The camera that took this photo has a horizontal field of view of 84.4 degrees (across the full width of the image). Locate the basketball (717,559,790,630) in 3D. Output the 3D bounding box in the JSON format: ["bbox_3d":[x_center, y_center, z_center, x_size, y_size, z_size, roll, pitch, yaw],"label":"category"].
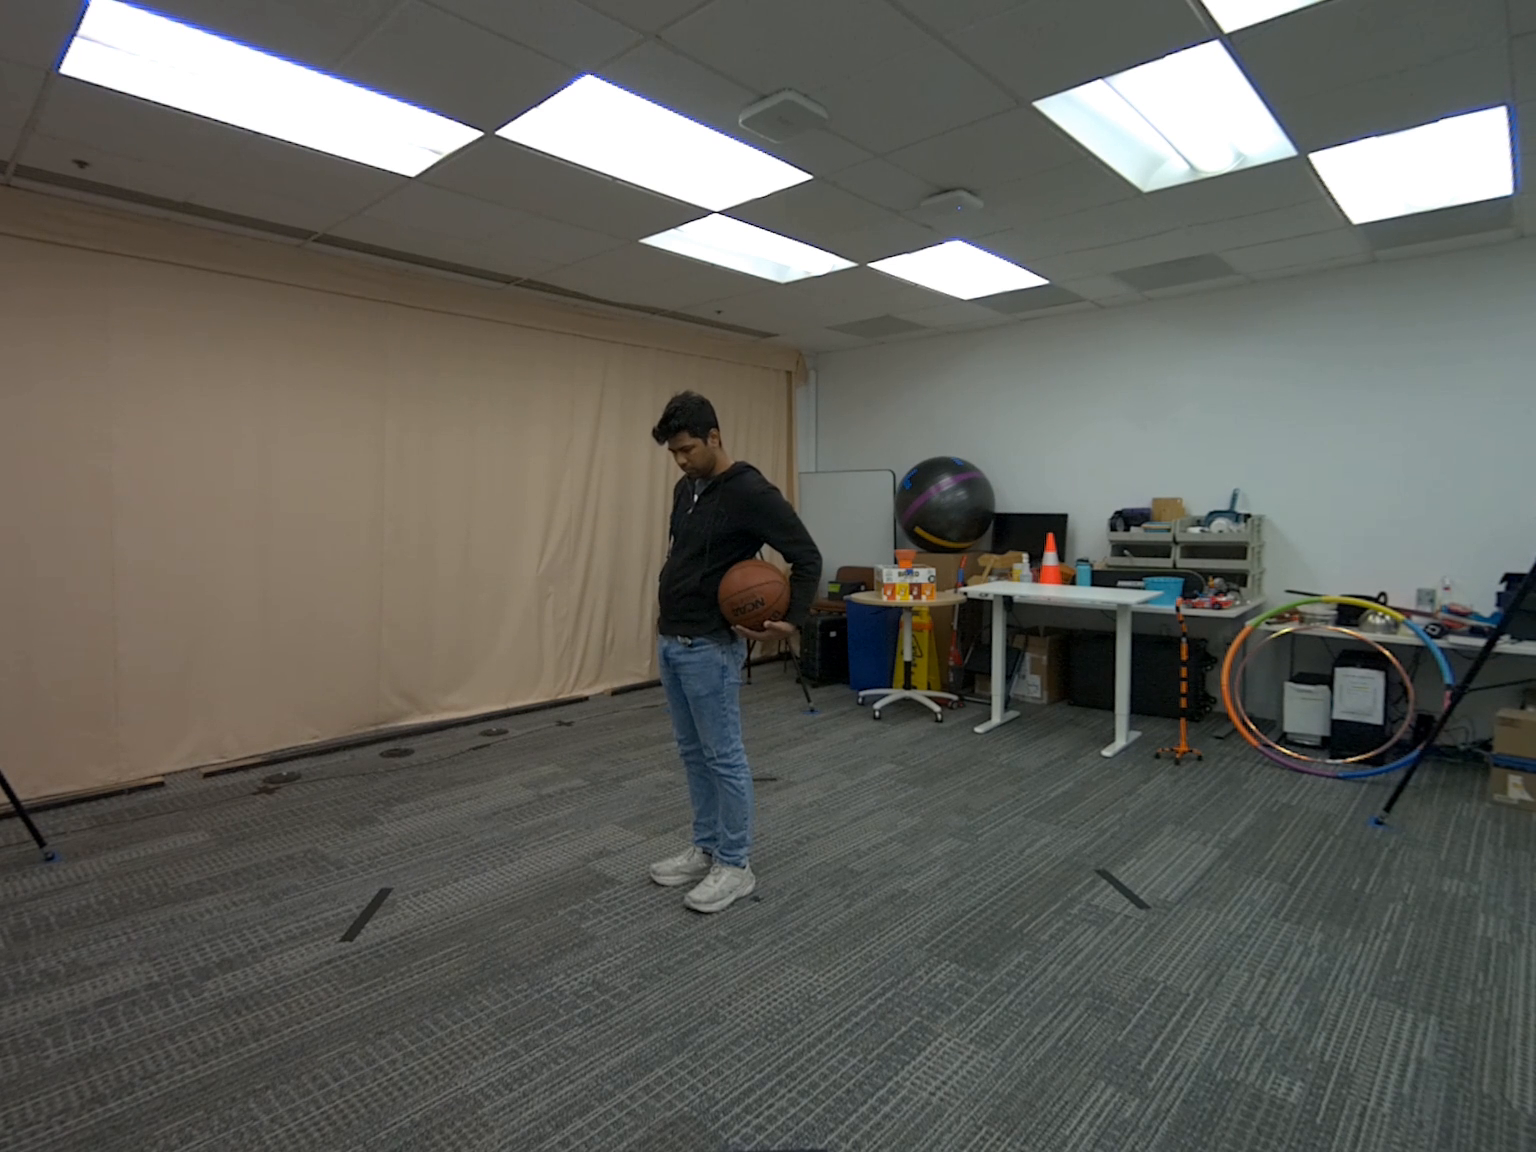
[{"bbox_3d":[-0.051,0.057,2.775,0.236,0.235,0.237,0,4,-2],"label":"basketball"}]
